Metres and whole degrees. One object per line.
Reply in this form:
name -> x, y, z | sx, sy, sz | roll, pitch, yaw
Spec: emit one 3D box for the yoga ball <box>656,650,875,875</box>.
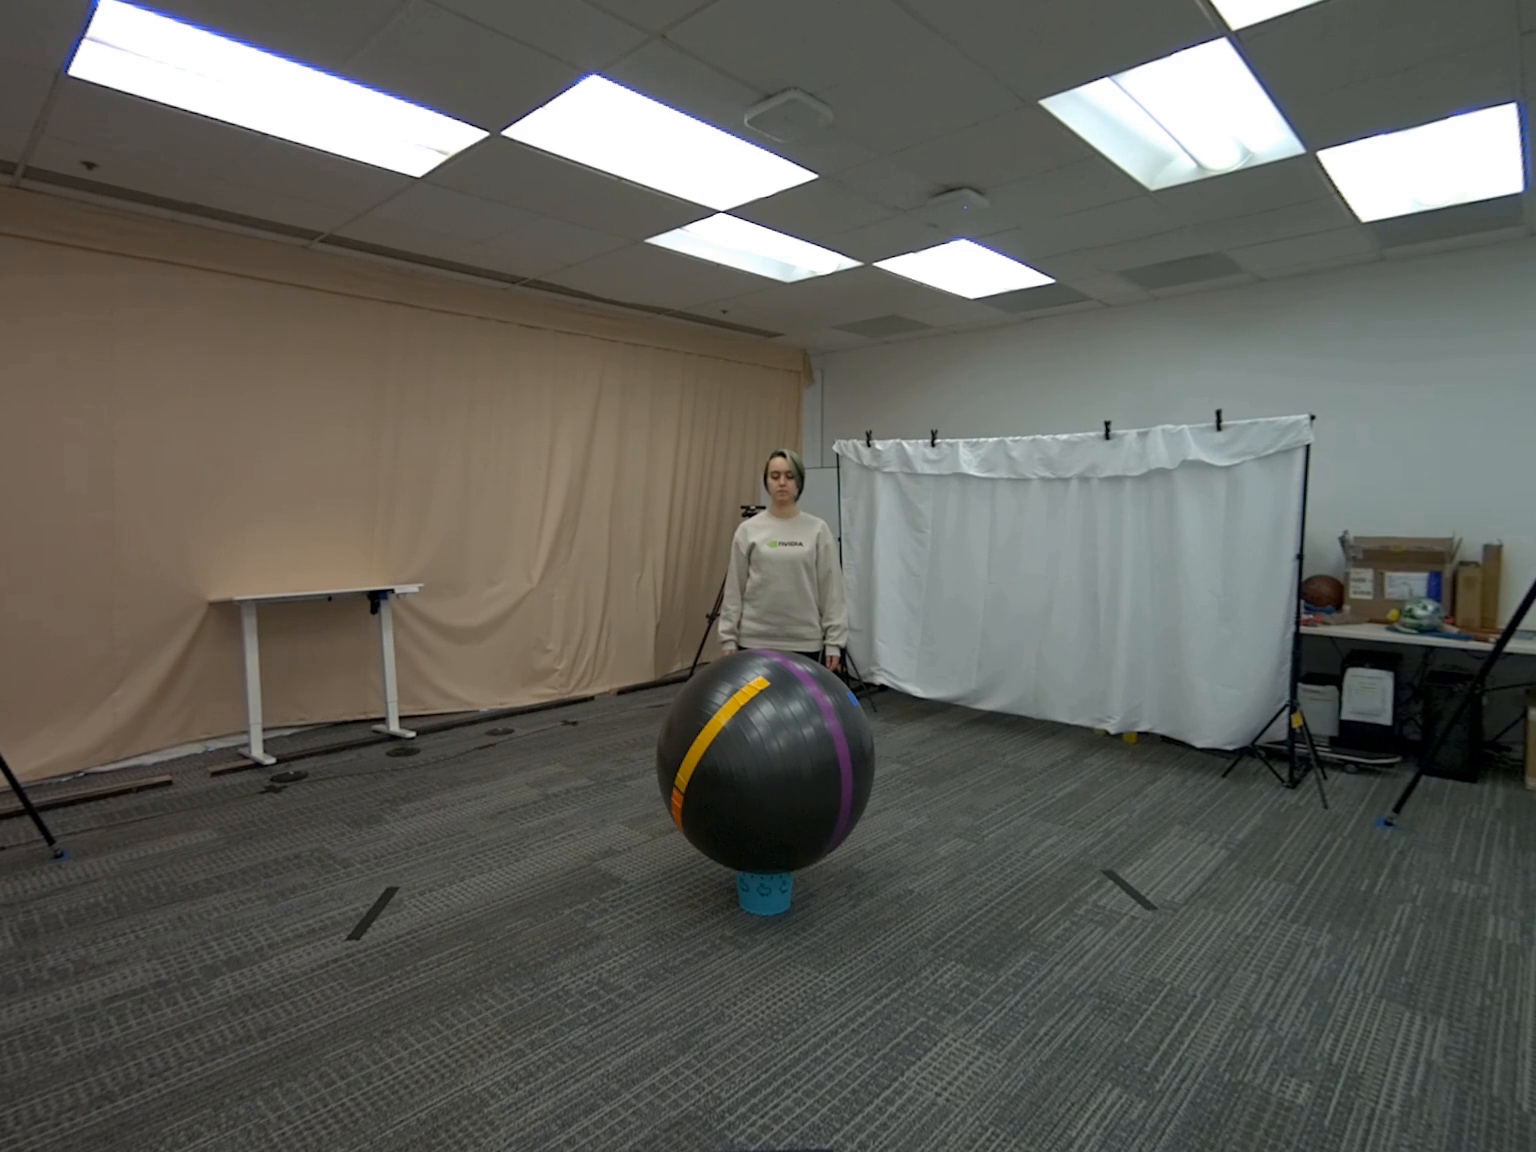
yoga ball -> -0.012, 0.631, 2.929 | 0.757, 0.756, 0.760 | 0, 4, -2
